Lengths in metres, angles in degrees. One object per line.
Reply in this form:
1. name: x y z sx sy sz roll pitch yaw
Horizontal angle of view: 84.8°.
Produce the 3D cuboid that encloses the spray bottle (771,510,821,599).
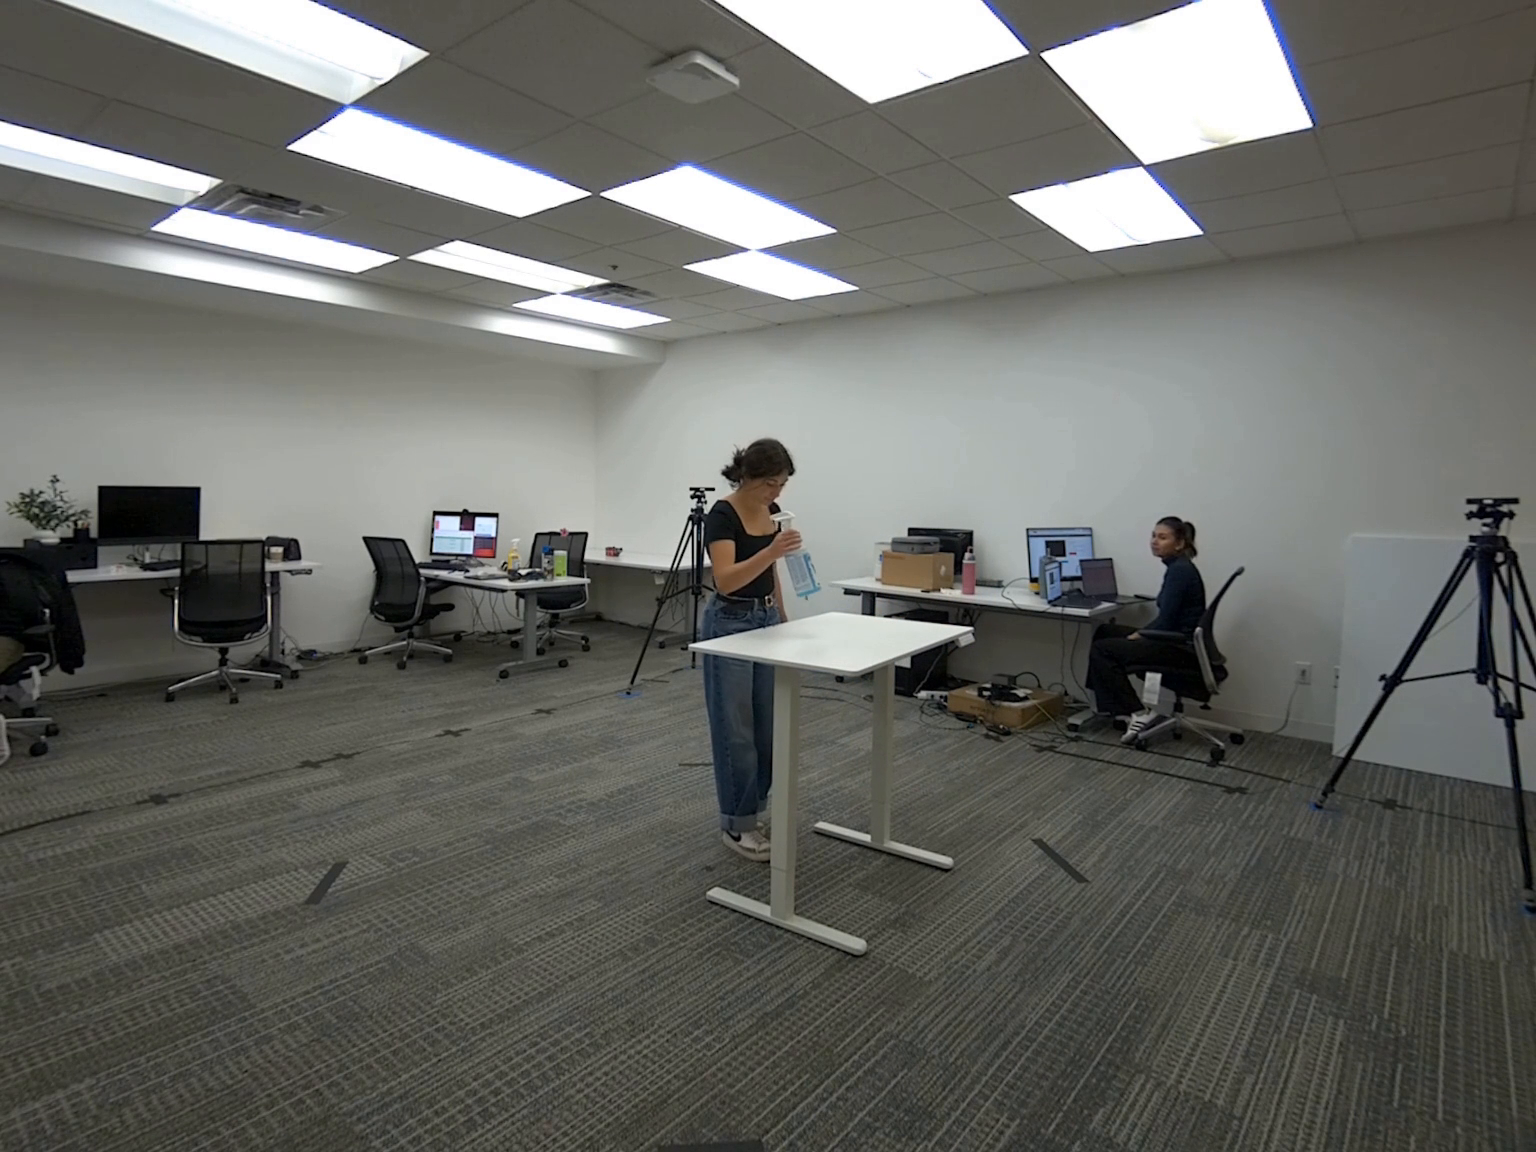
1. spray bottle: 0.094 -0.078 2.919 0.085 0.298 0.091 -17 -3 -31
